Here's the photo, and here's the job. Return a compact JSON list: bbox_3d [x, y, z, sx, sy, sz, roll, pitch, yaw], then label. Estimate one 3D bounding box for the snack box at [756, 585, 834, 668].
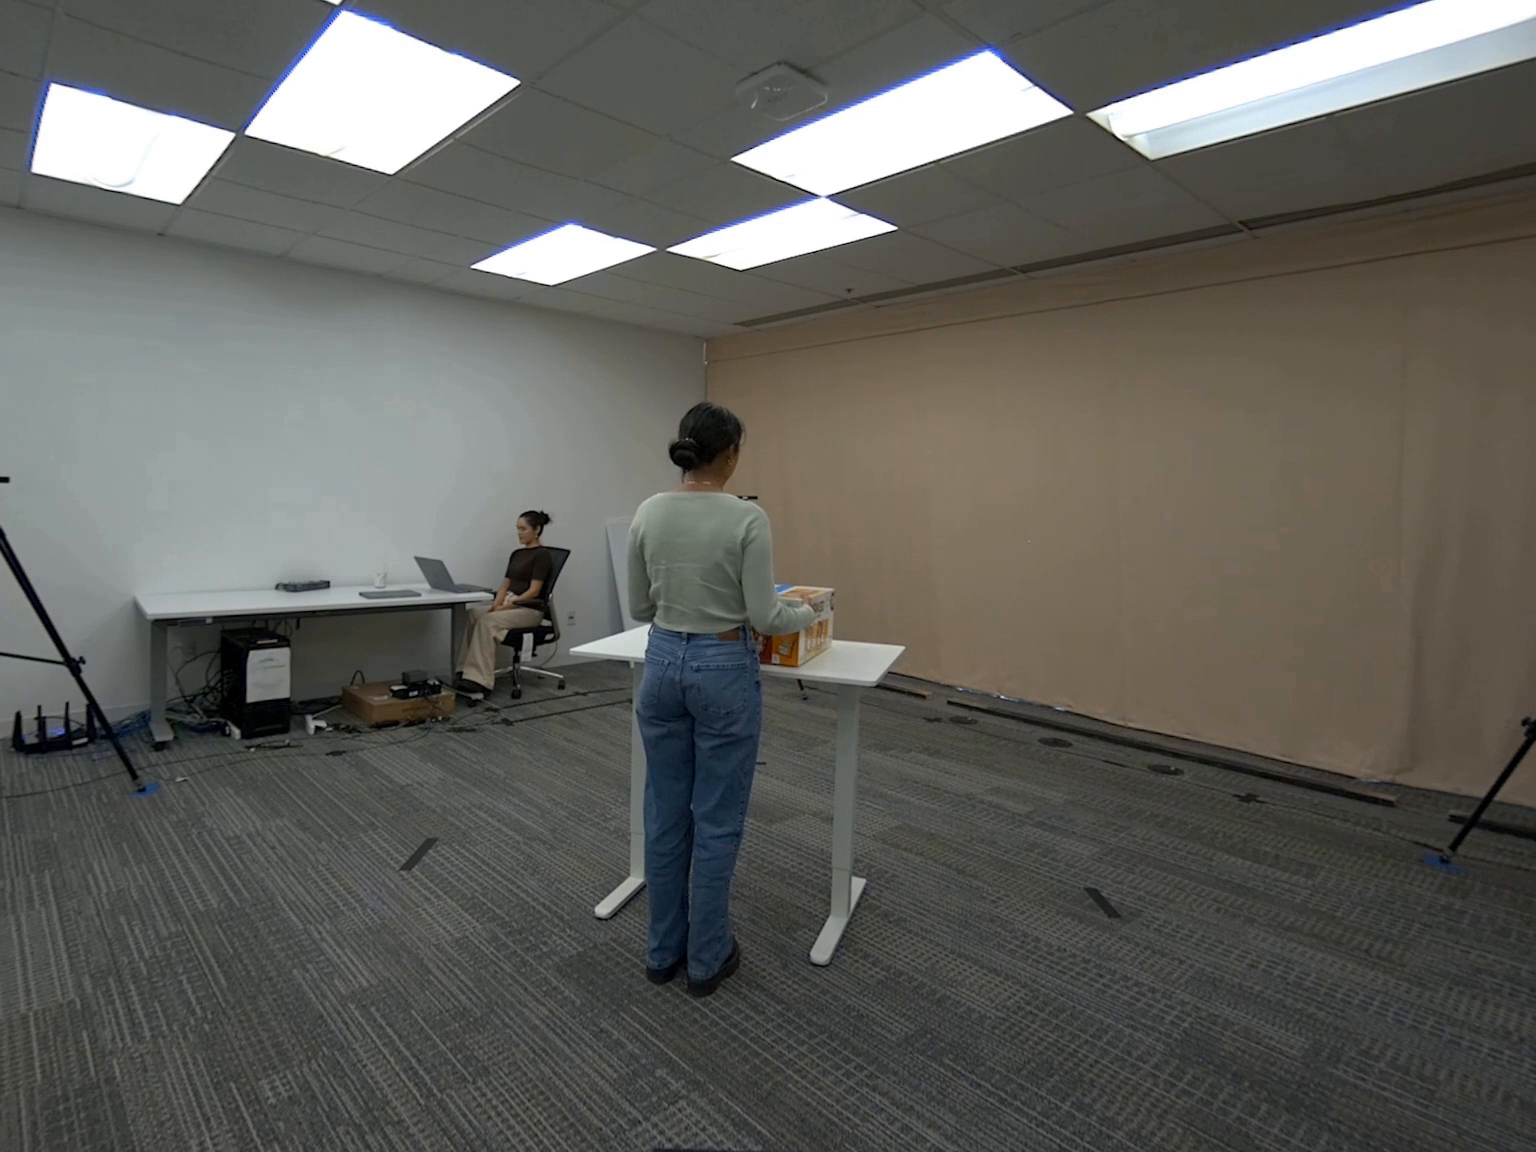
[{"bbox_3d":[-0.005,0.150,2.786,0.346,0.205,0.400,4,5,20],"label":"snack box"}]
